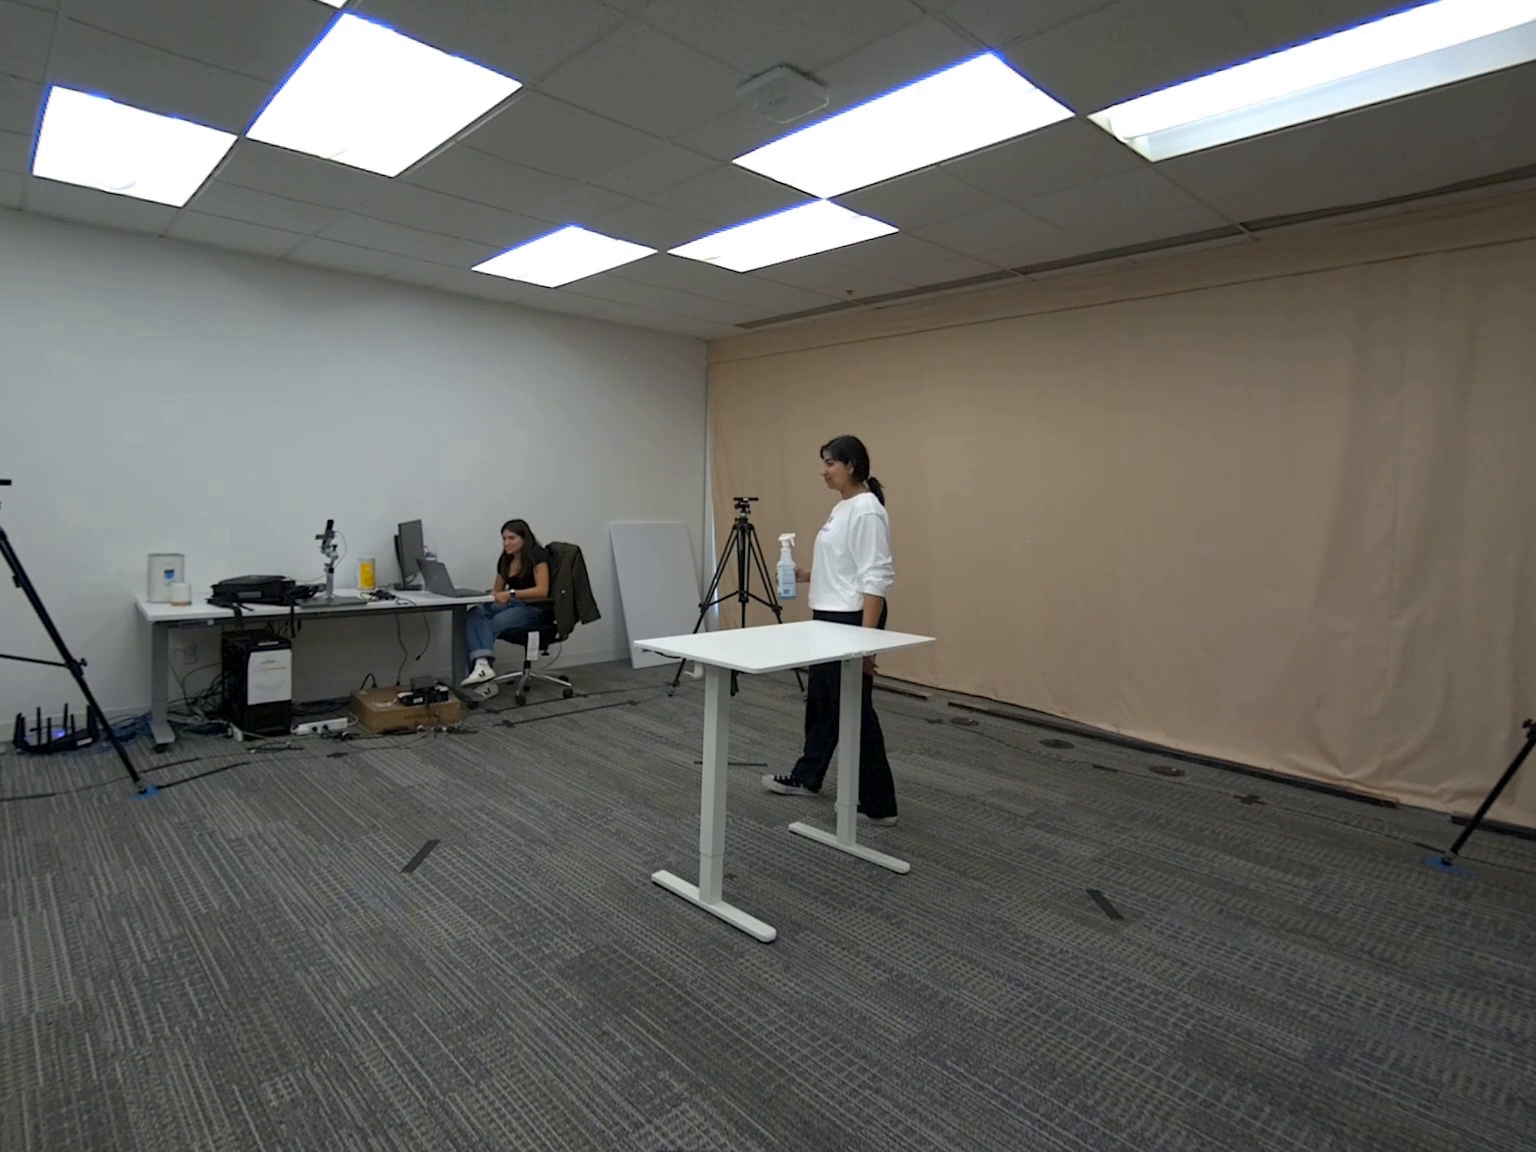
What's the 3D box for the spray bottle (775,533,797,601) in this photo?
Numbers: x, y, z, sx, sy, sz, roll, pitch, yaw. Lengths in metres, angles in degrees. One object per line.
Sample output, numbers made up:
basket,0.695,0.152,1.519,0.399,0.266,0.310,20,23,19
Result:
spray bottle,0.084,-0.043,3.831,0.085,0.297,0.092,1,2,-27
